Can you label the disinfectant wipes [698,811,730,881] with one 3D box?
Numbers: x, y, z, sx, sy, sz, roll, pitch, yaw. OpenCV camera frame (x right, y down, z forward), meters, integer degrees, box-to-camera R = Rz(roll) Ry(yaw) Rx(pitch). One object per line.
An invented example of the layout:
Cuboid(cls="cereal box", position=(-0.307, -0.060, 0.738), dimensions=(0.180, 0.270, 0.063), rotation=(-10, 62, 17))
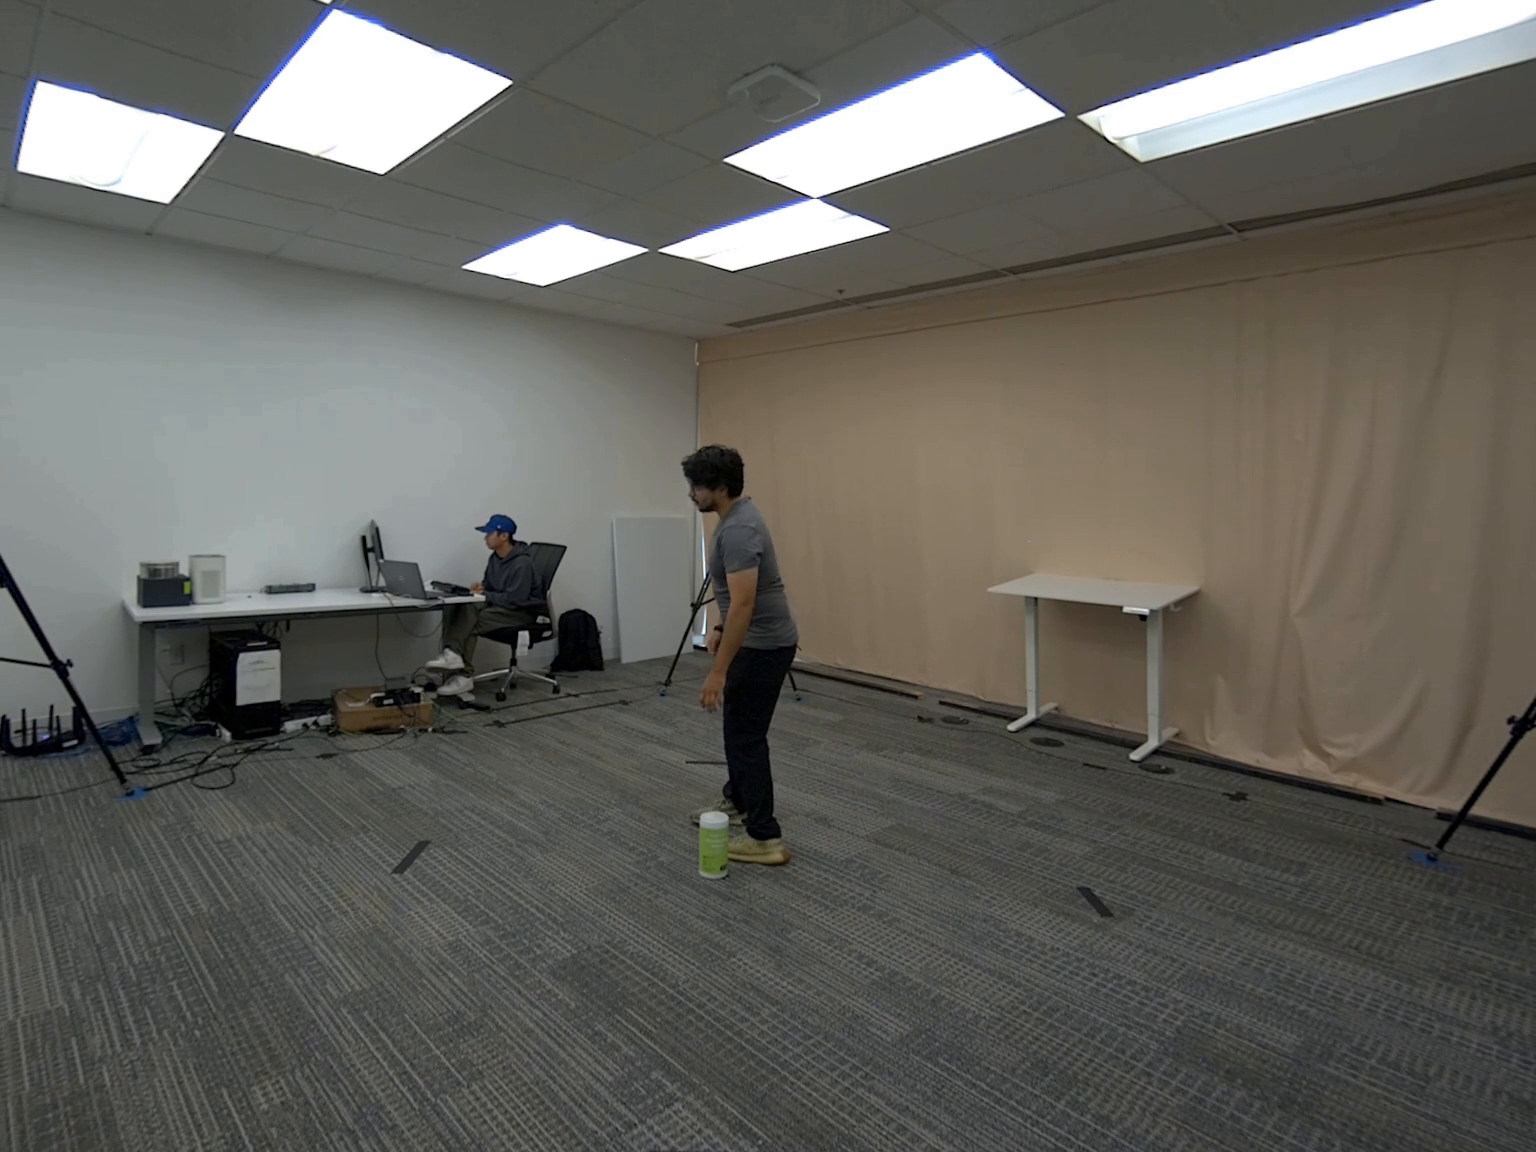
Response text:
Cuboid(cls="disinfectant wipes", position=(-0.214, 1.000, 3.112), dimensions=(0.118, 0.217, 0.118), rotation=(2, 5, -2))
